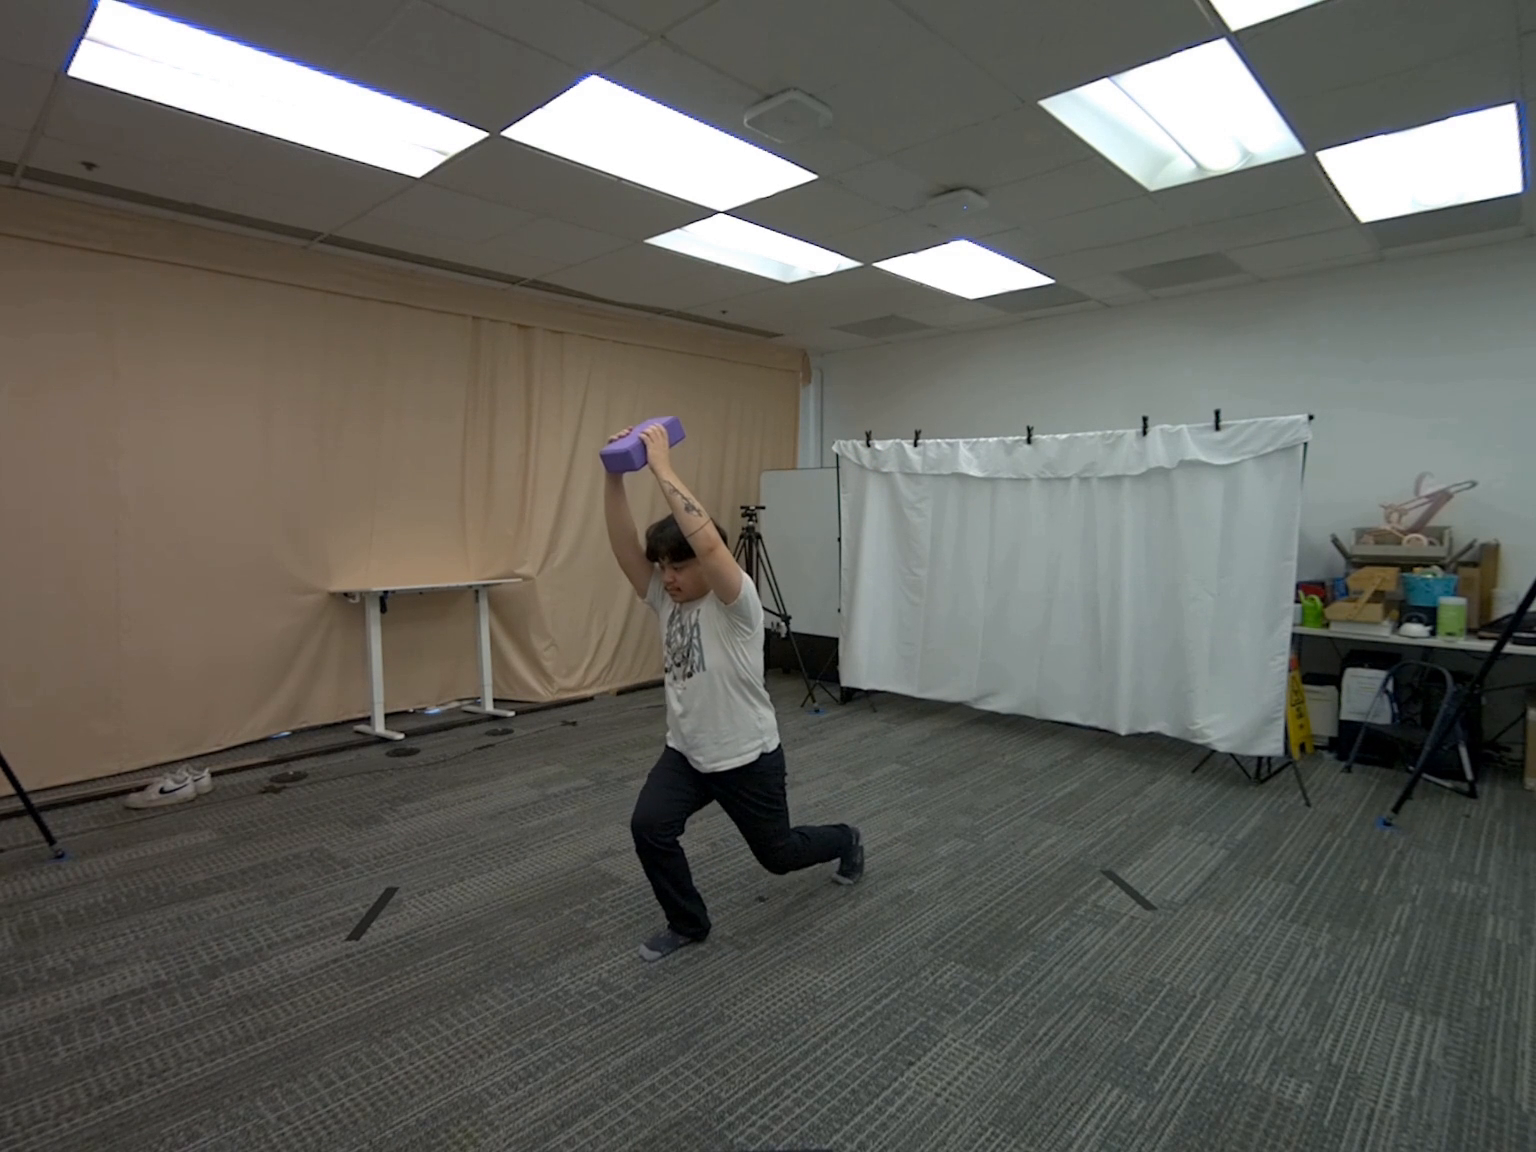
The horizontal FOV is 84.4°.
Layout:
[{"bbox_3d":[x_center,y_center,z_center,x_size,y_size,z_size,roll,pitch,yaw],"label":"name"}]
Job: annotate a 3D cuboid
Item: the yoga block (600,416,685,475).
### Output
[{"bbox_3d":[-0.370,-0.396,2.526,0.154,0.075,0.227,2,34,44],"label":"yoga block"}]
